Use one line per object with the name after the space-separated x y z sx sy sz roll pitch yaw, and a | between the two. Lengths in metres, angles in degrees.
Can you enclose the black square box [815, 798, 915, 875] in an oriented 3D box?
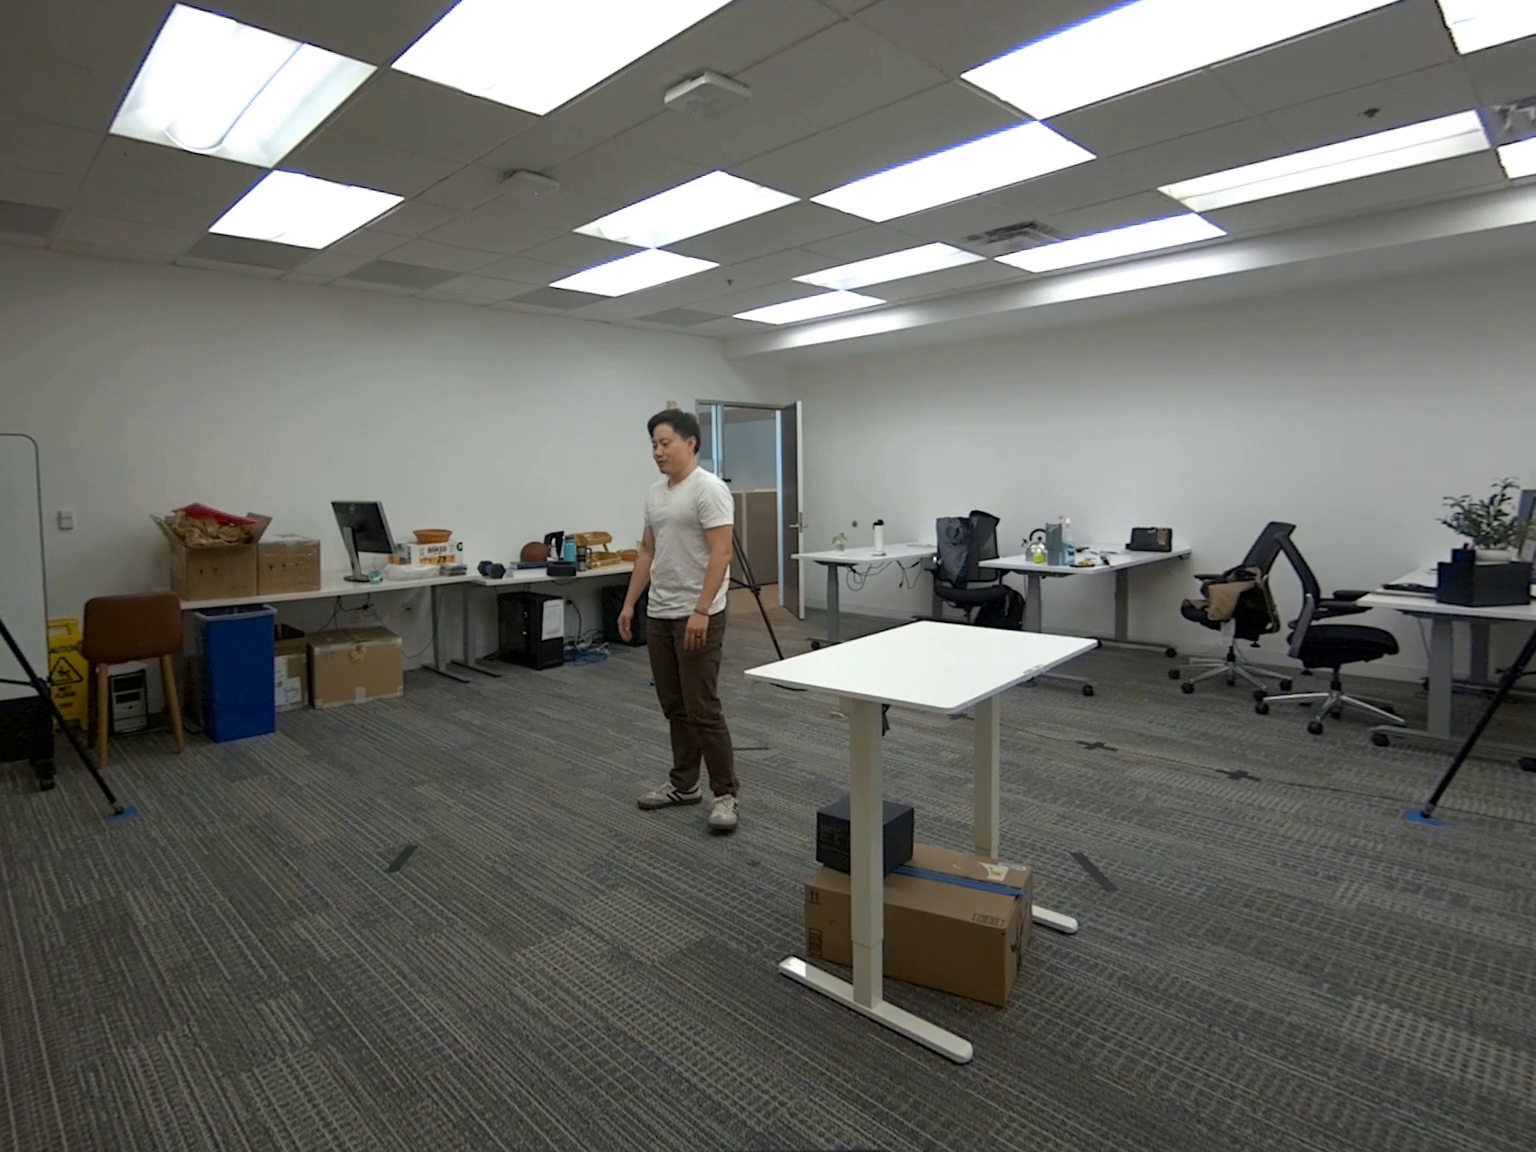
0.308 0.791 2.622 0.223 0.155 0.222 3 5 37 | black square box
